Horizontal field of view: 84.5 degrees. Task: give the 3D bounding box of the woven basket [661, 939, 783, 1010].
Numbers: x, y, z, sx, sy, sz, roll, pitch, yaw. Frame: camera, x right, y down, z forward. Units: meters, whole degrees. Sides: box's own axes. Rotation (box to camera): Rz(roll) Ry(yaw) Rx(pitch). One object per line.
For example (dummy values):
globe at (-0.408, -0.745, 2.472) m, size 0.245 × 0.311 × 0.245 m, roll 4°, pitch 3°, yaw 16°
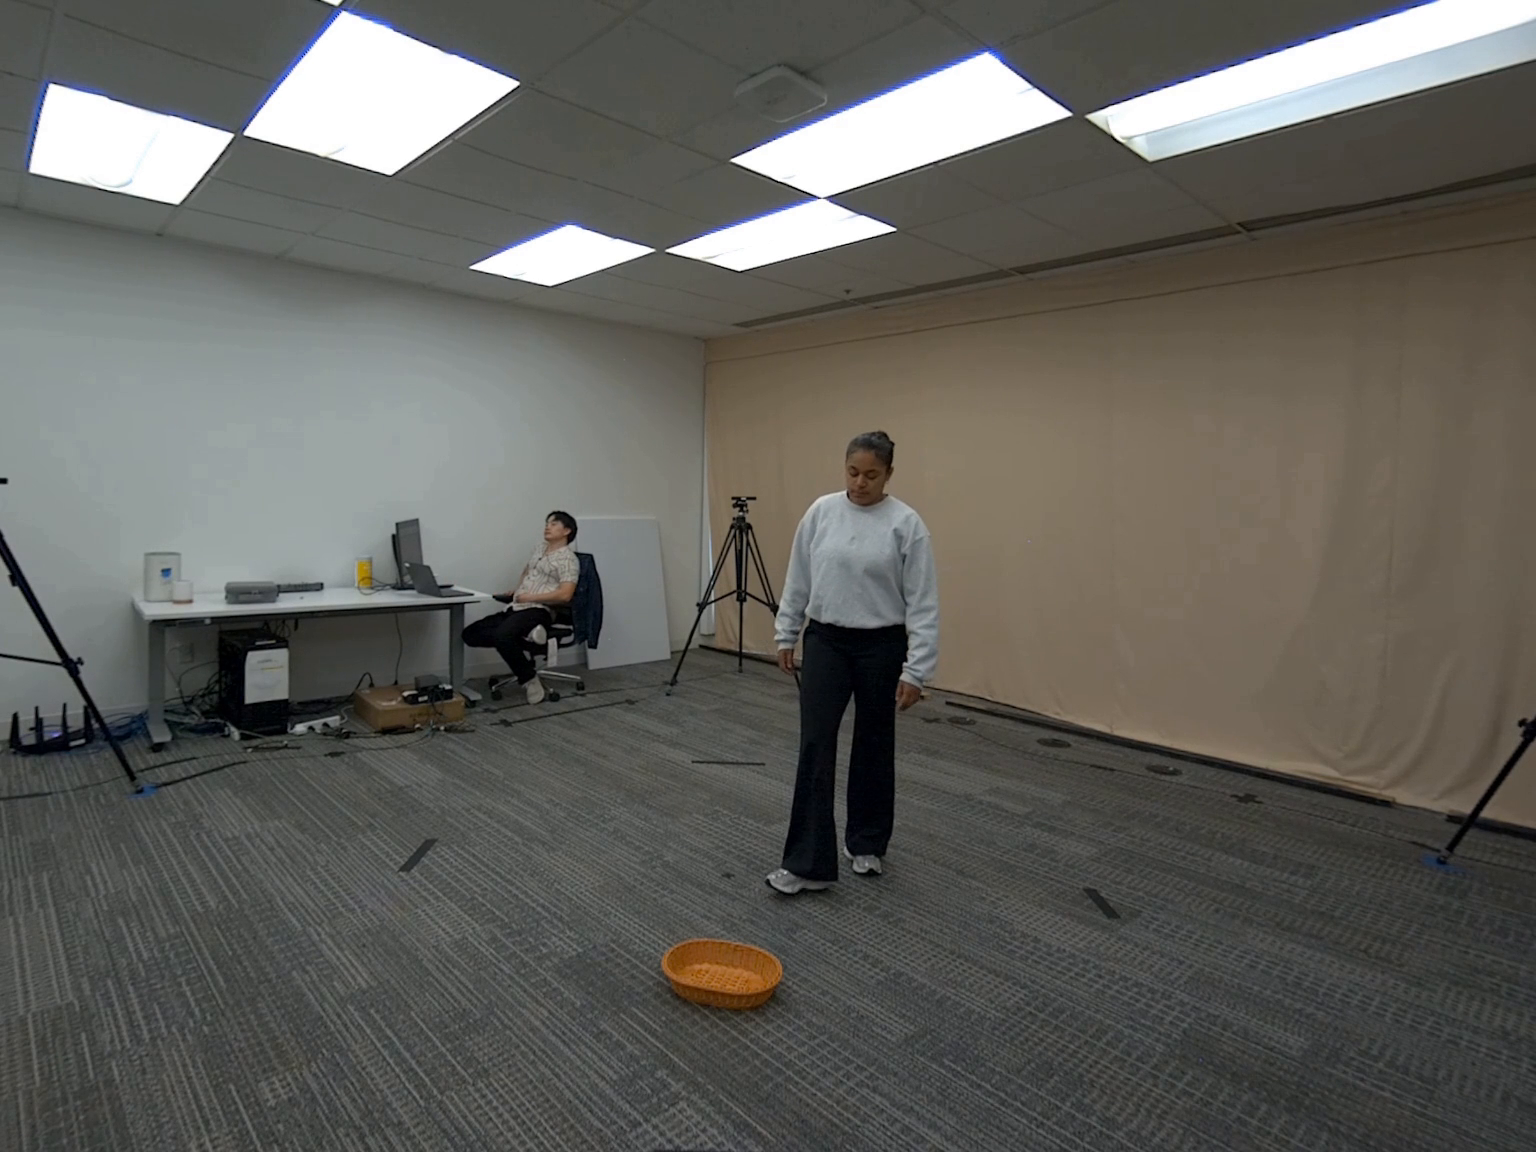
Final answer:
woven basket at (-0.139, 1.134, 2.388) m, size 0.355 × 0.073 × 0.250 m, roll 2°, pitch 5°, yaw 16°
